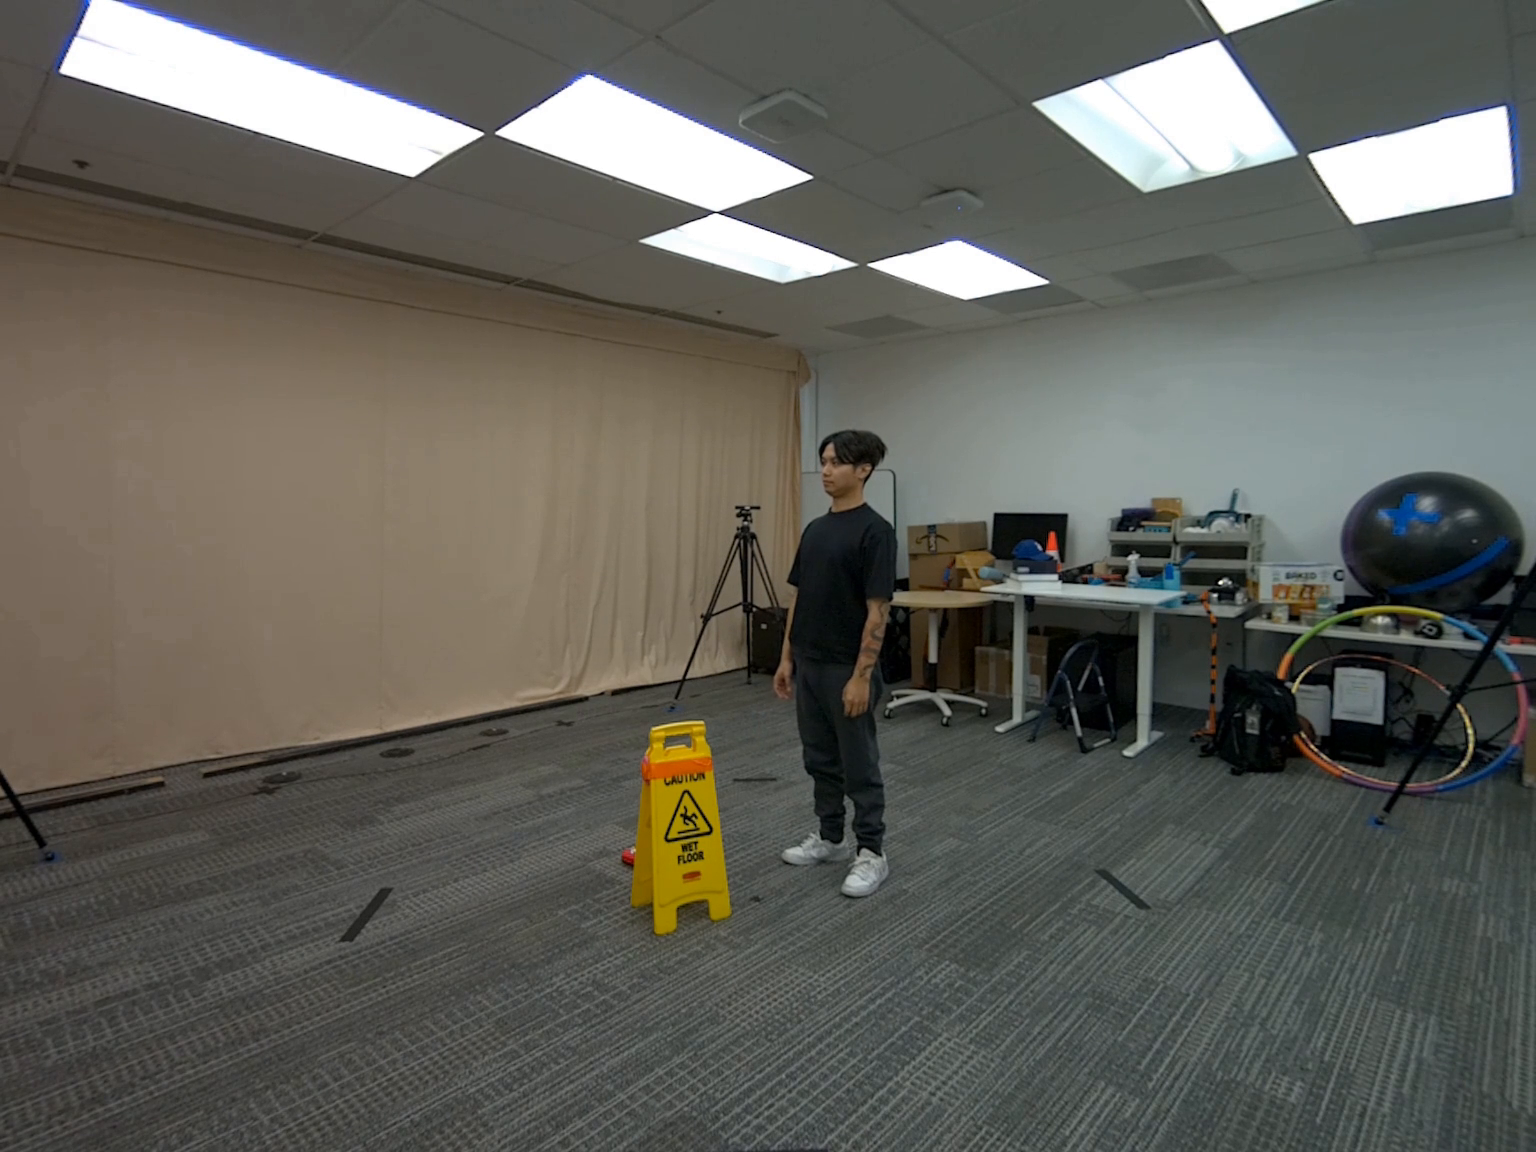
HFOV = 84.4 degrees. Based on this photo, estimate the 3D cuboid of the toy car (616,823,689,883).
[{"bbox_3d":[-0.456,1.090,3.347,0.134,0.082,0.249,1,16,40],"label":"toy car"}]
